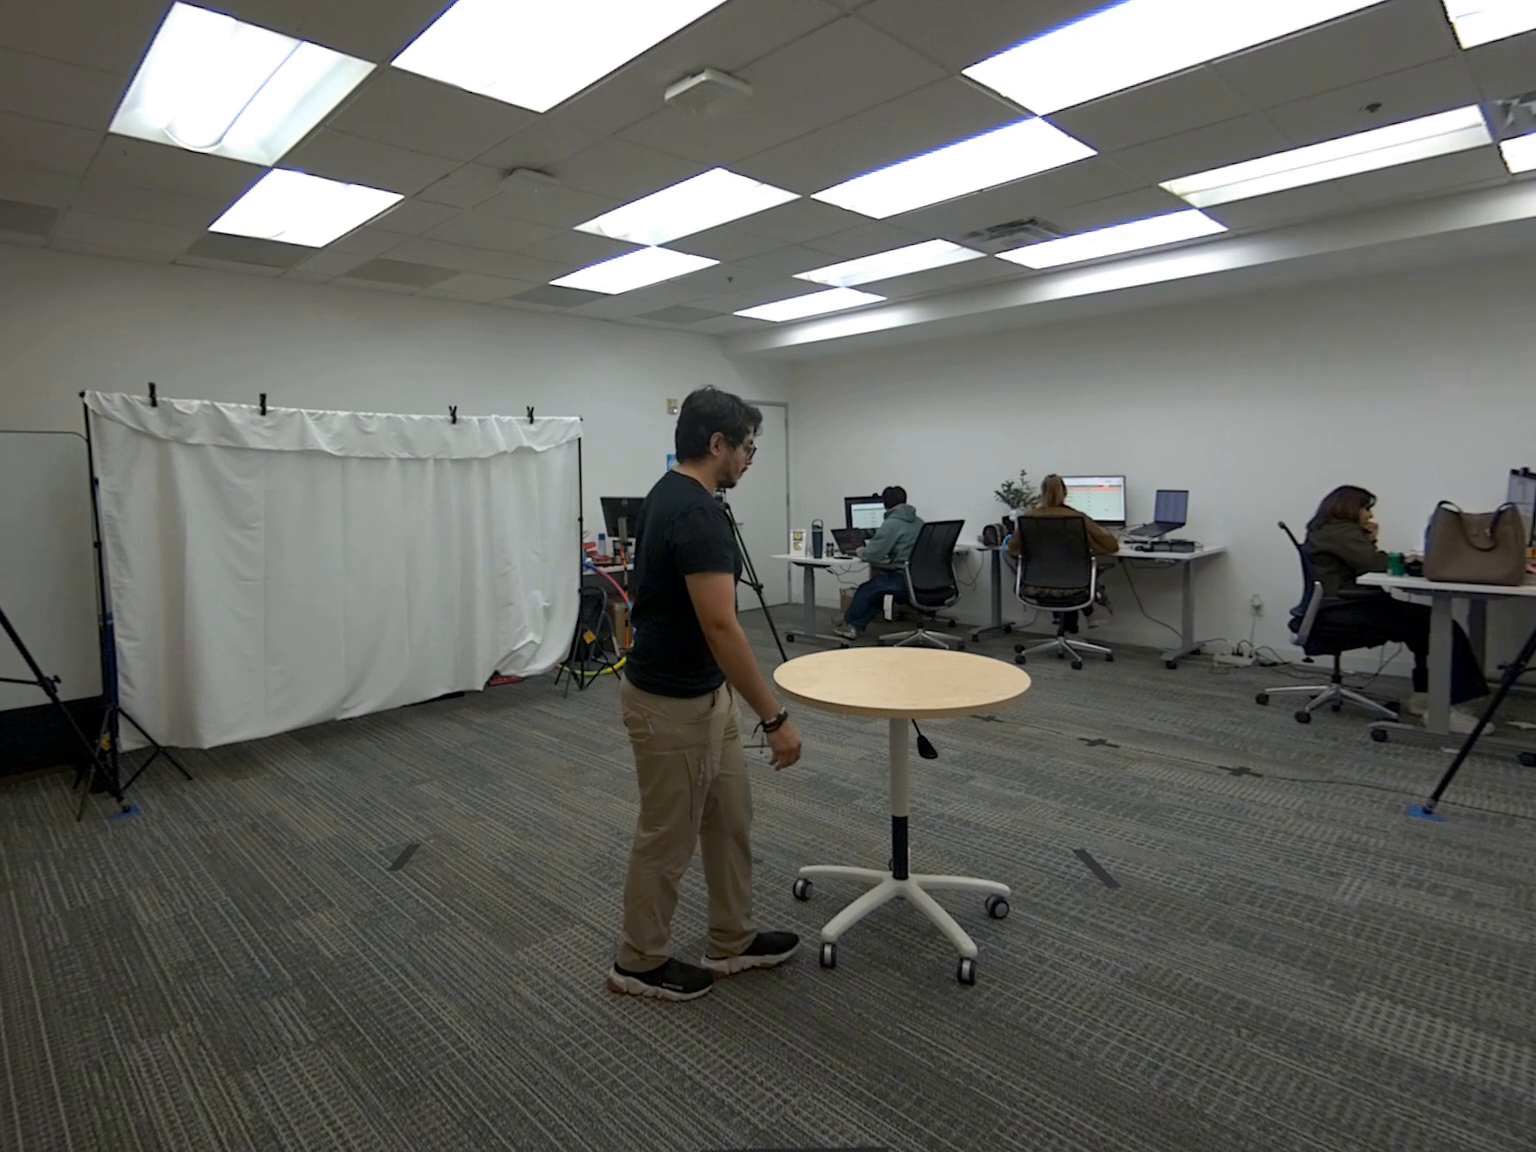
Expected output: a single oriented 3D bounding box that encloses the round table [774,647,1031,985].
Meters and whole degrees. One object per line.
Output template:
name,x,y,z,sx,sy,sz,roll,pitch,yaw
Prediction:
round table,0.413,0.687,2.660,0.784,0.783,0.789,-1,6,-2
